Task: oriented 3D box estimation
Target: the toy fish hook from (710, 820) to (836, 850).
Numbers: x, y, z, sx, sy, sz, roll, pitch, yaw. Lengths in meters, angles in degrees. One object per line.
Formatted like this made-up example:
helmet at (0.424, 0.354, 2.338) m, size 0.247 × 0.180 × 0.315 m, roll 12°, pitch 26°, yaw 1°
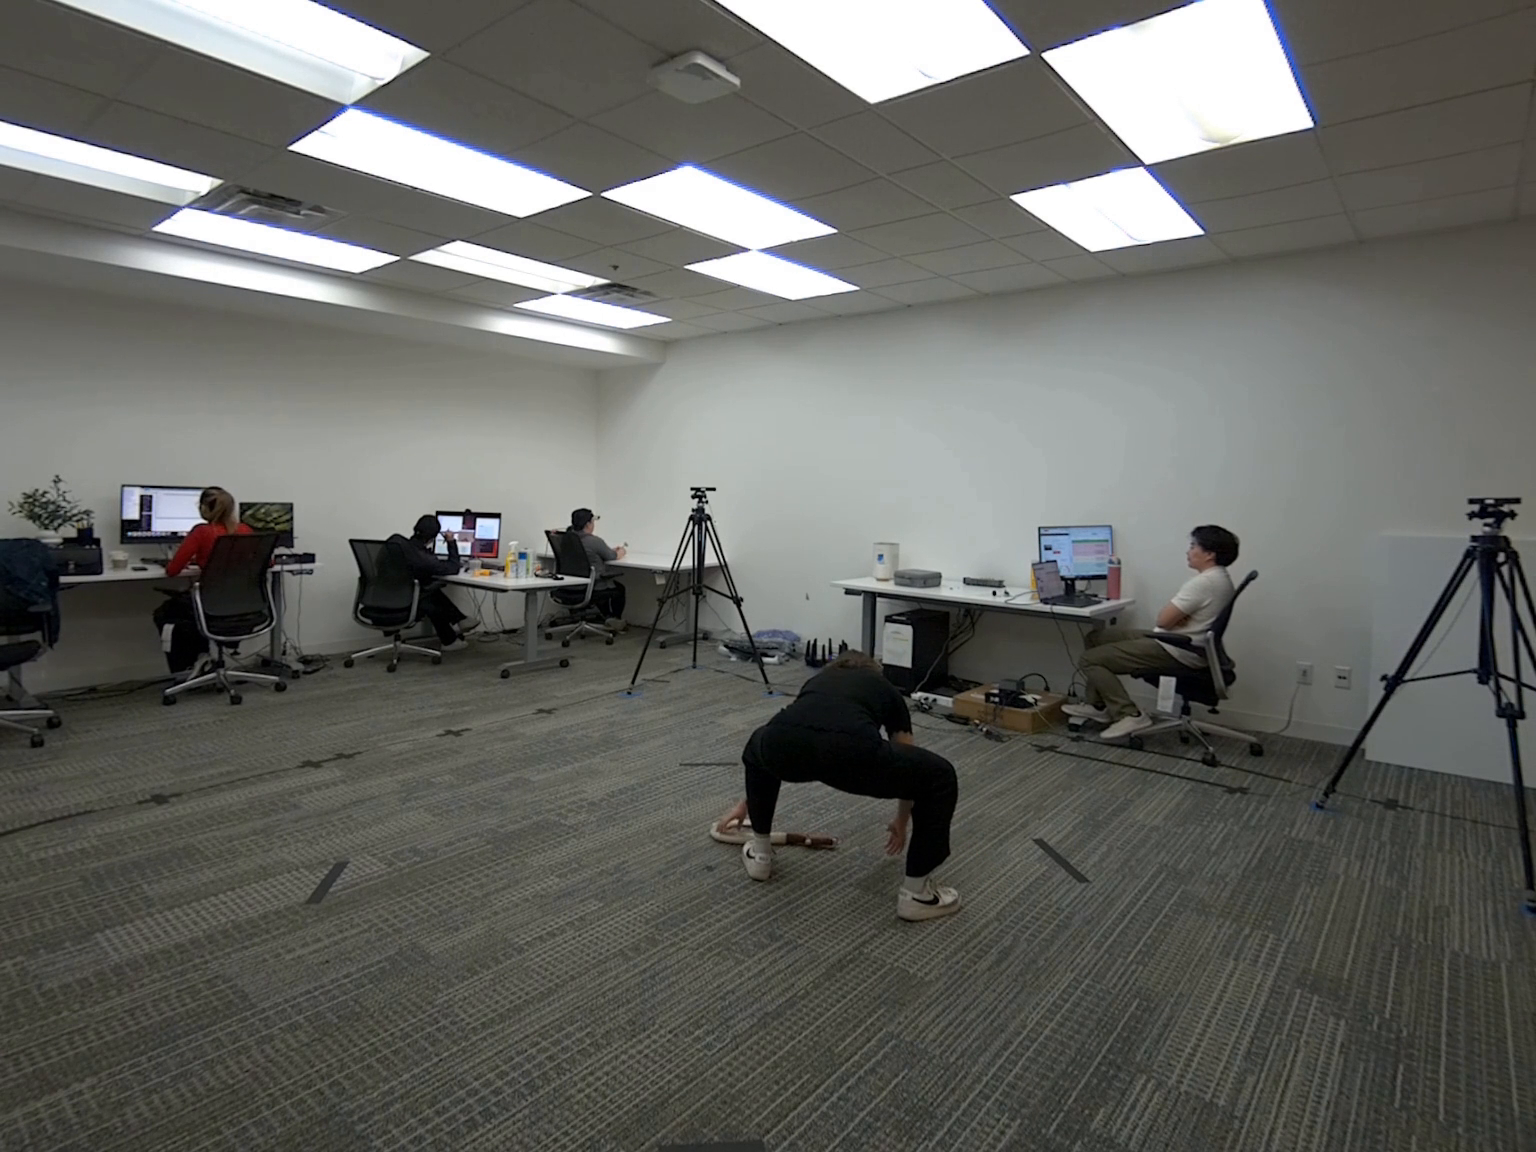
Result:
toy fish hook at (0.016, 1.019, 3.396) m, size 0.511 × 0.048 × 0.224 m, roll 2°, pitch 8°, yaw 8°
